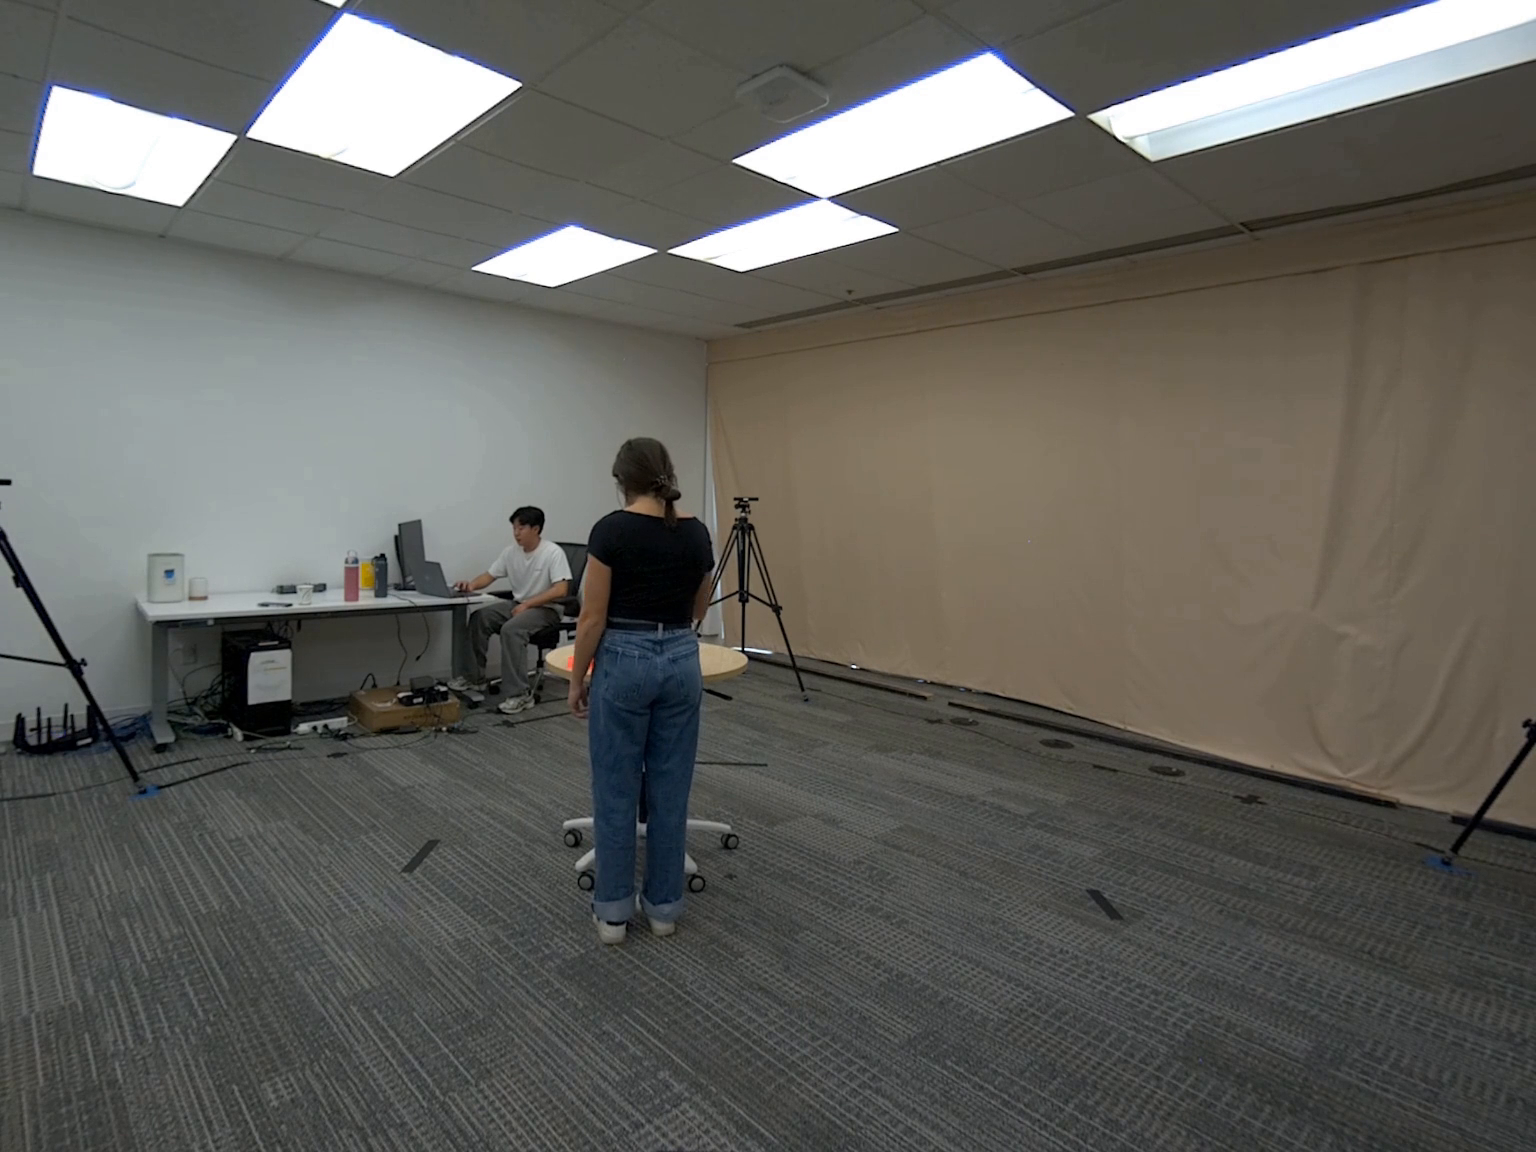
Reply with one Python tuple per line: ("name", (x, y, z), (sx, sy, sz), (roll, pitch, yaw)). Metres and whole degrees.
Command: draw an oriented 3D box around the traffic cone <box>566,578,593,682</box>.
("traffic cone", (-0.628, 0.138, 3.030), (0.203, 0.382, 0.206), (-1, 5, -11))
